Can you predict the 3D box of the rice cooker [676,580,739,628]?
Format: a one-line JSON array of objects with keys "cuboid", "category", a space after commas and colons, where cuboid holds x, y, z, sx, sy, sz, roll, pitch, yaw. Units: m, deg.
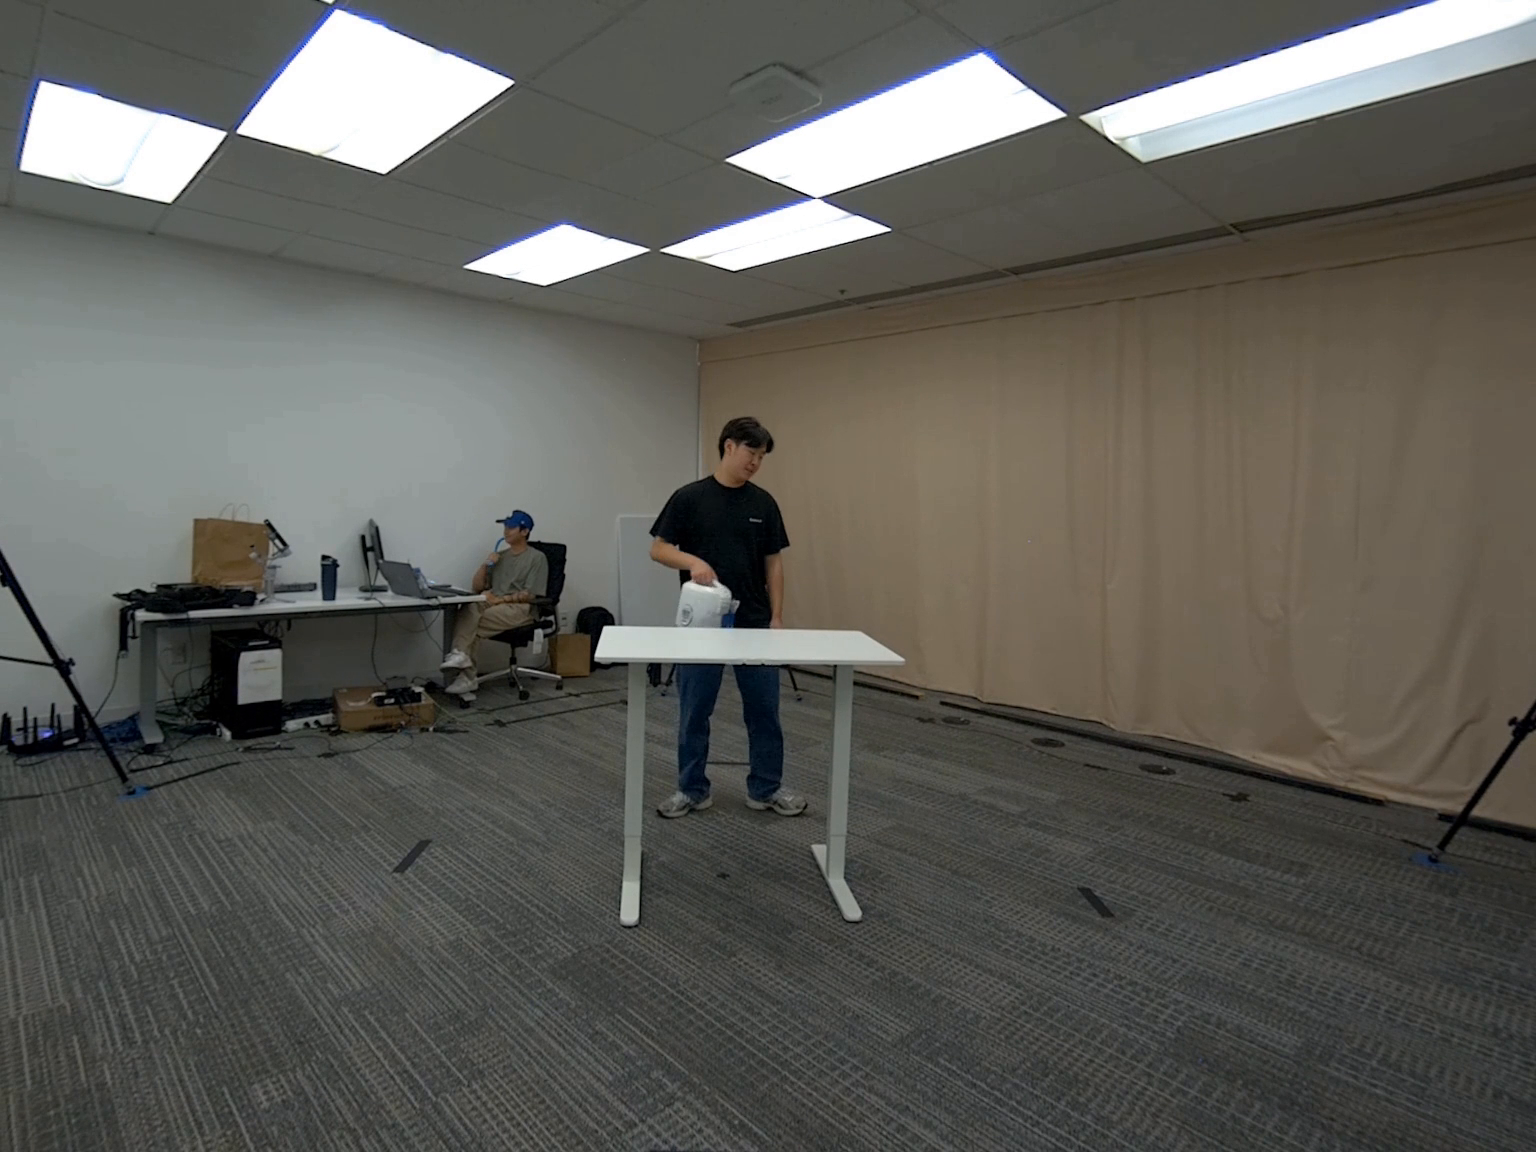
[{"cuboid": [-0.267, 0.122, 3.474, 0.226, 0.232, 0.212, 13, 6, 35], "category": "rice cooker"}]
